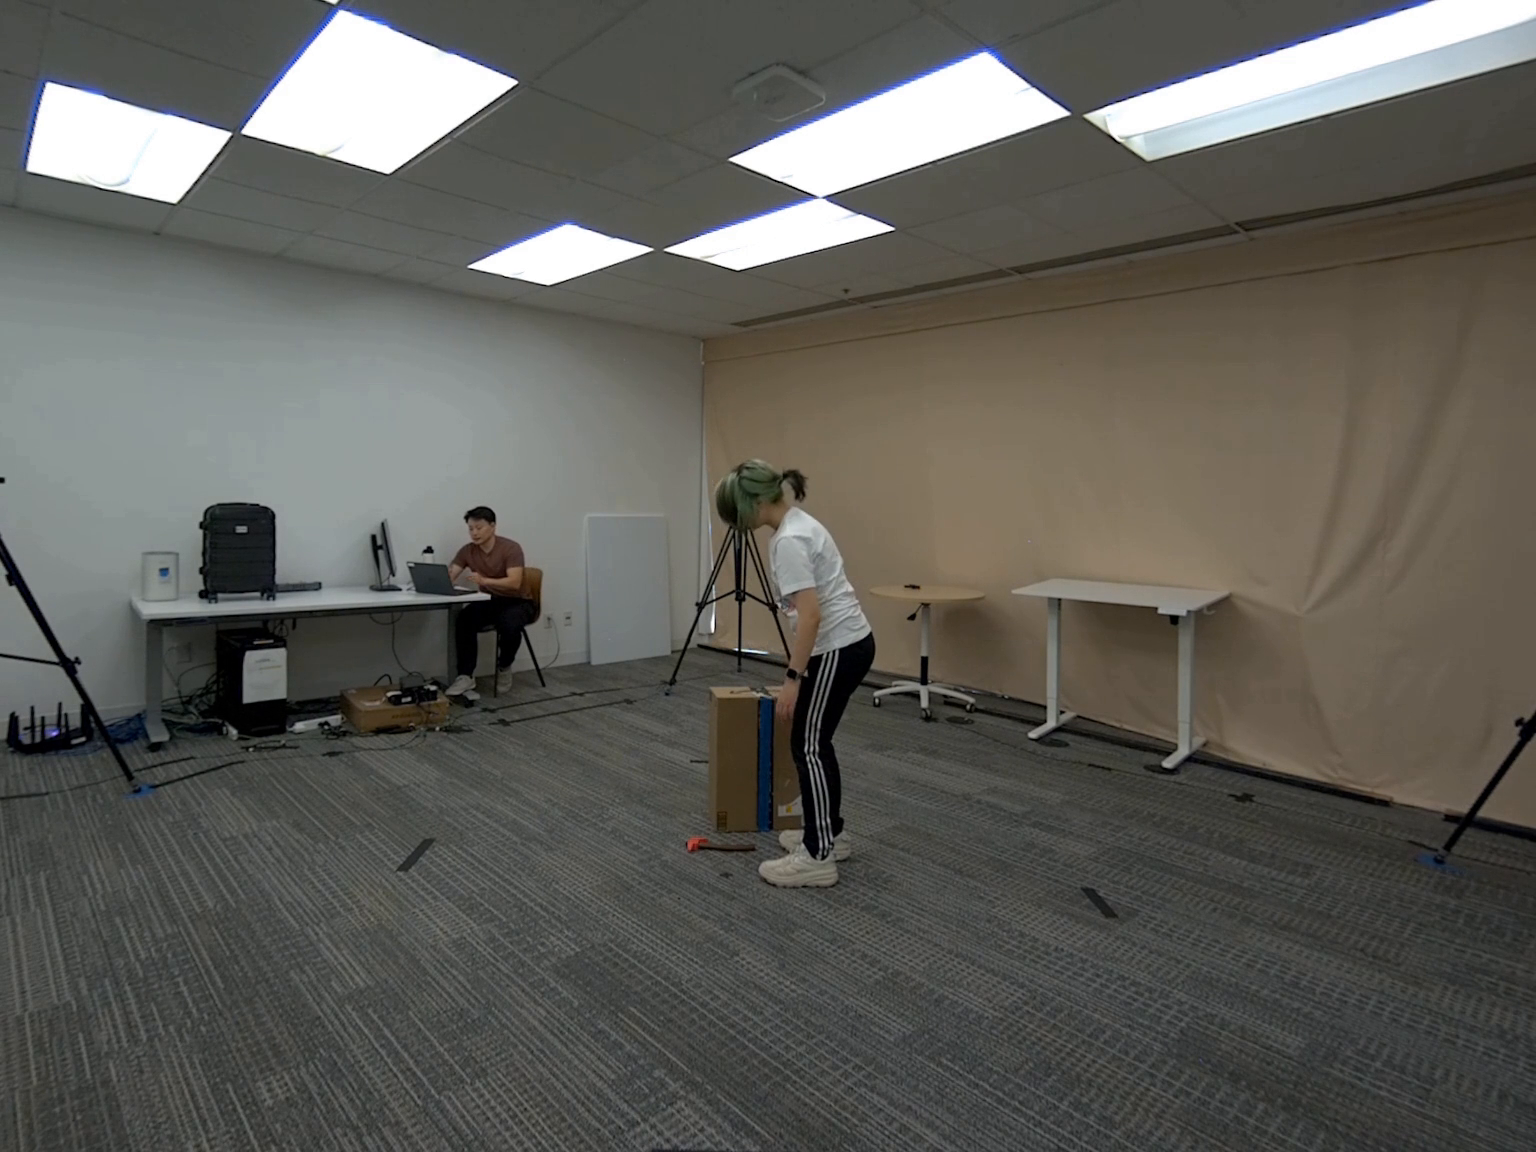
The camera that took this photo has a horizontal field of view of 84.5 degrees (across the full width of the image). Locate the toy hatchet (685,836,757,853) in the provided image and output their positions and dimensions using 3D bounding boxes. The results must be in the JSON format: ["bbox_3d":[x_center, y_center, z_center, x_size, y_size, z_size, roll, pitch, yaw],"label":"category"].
[{"bbox_3d":[-0.202,1.067,3.360,0.268,0.029,0.132,2,2,-11],"label":"toy hatchet"}]
